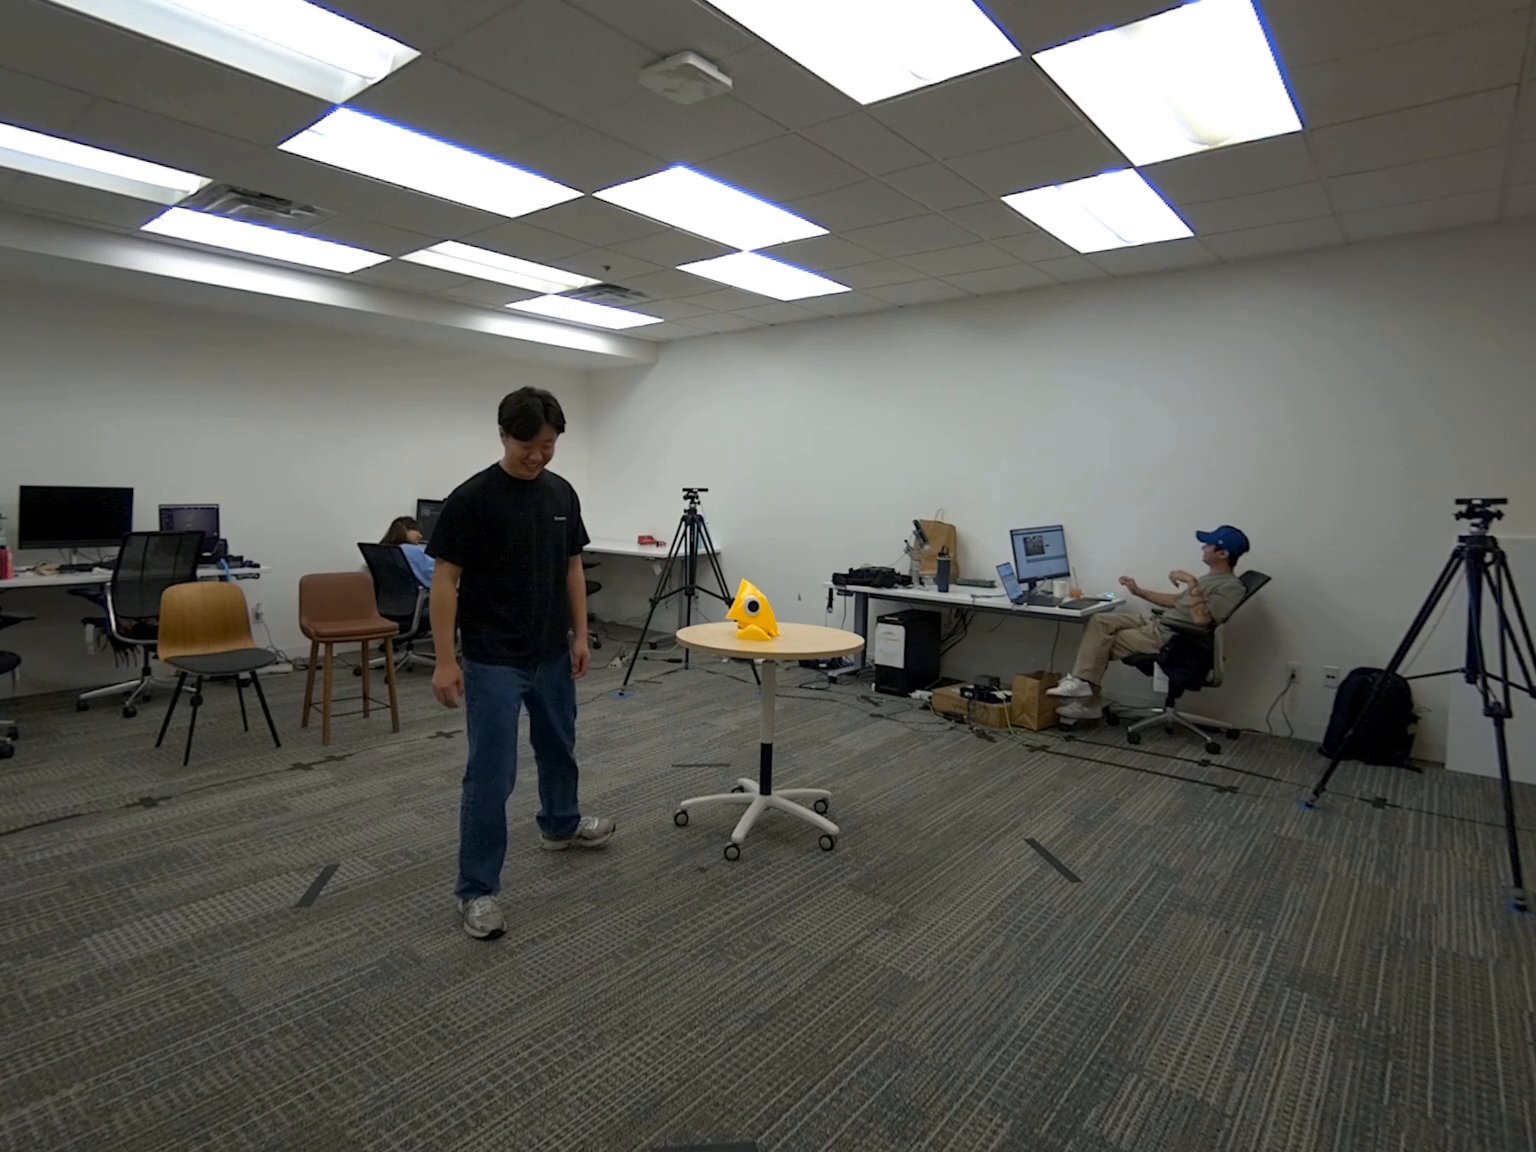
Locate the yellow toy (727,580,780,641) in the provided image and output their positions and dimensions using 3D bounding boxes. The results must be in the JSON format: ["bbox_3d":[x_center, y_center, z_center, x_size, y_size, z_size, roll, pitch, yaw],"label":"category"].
[{"bbox_3d":[-0.058,0.128,3.460,0.197,0.230,0.201,2,3,19],"label":"yellow toy"}]
